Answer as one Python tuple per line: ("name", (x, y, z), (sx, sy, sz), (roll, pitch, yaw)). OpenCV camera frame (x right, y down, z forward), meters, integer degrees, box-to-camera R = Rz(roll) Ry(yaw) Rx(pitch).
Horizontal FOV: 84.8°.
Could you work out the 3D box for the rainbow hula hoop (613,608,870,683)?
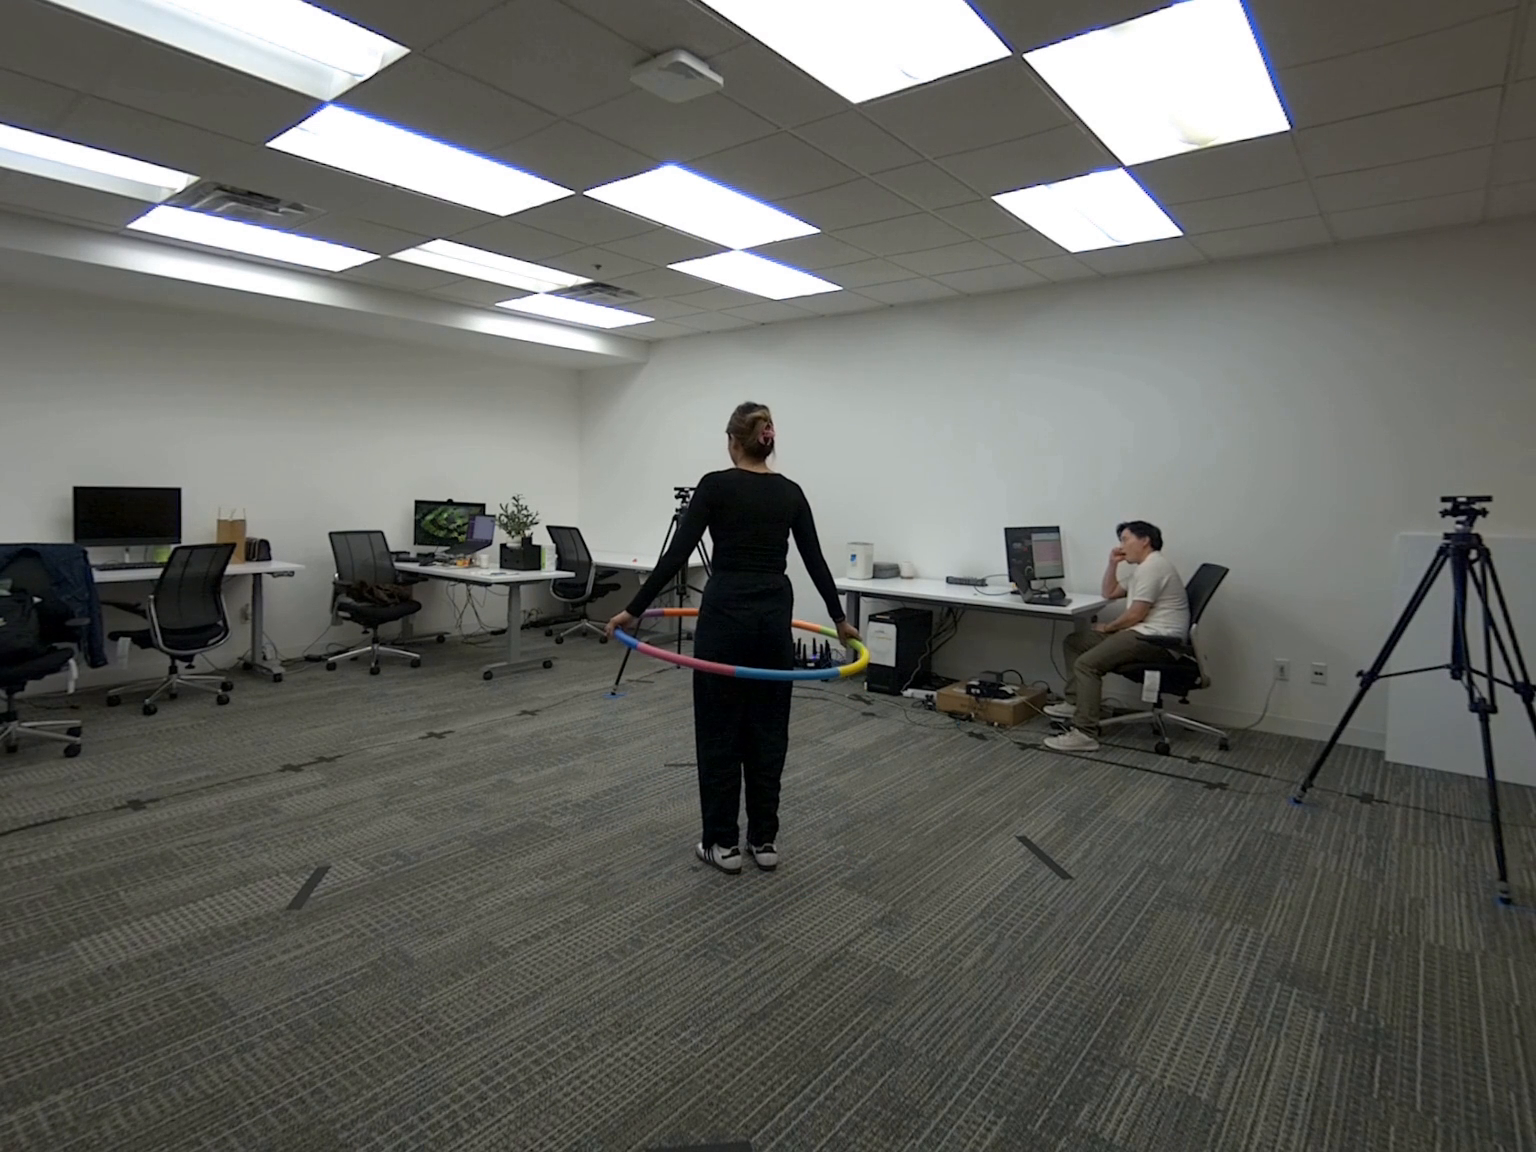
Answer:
("rainbow hula hoop", (-0.111, 0.236, 3.215), (0.977, 0.035, 0.986), (6, 7, -3))
